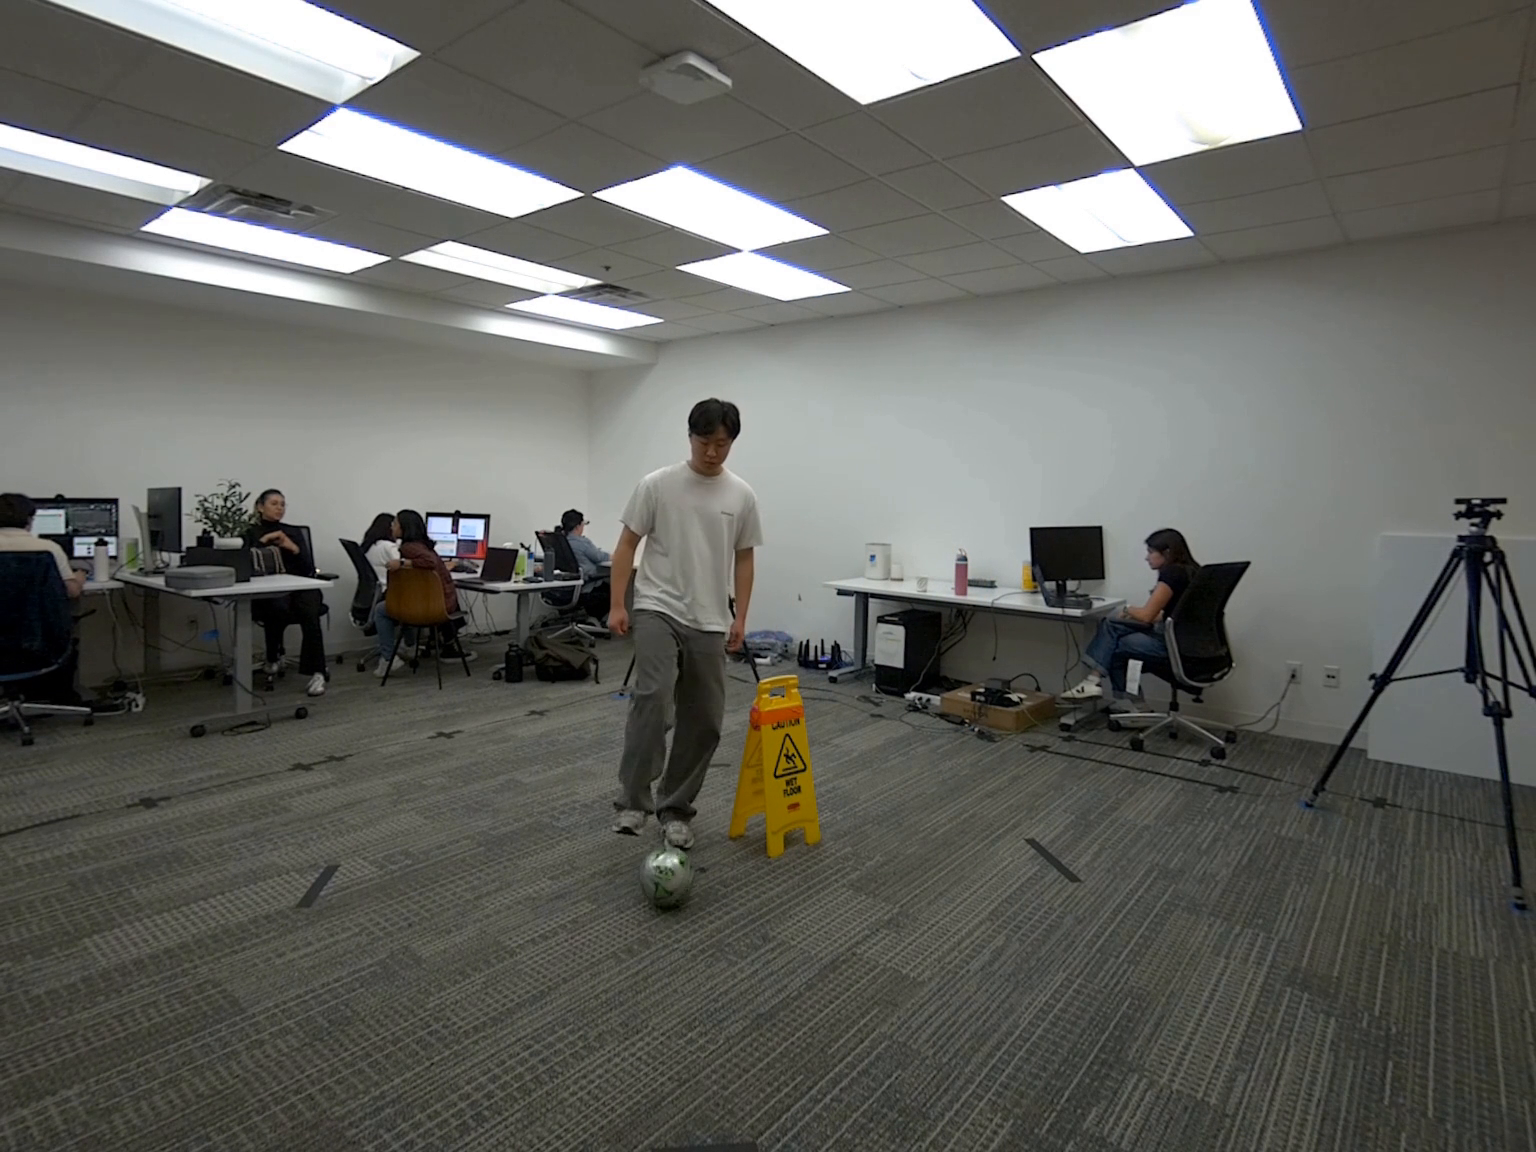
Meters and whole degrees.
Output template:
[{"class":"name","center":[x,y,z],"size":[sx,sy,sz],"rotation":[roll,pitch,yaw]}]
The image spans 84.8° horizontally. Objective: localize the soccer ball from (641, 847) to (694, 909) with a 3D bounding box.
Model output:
[{"class":"soccer ball","center":[-0.340,0.998,2.852],"size":[0.187,0.187,0.188],"rotation":[1,4,-2]}]
